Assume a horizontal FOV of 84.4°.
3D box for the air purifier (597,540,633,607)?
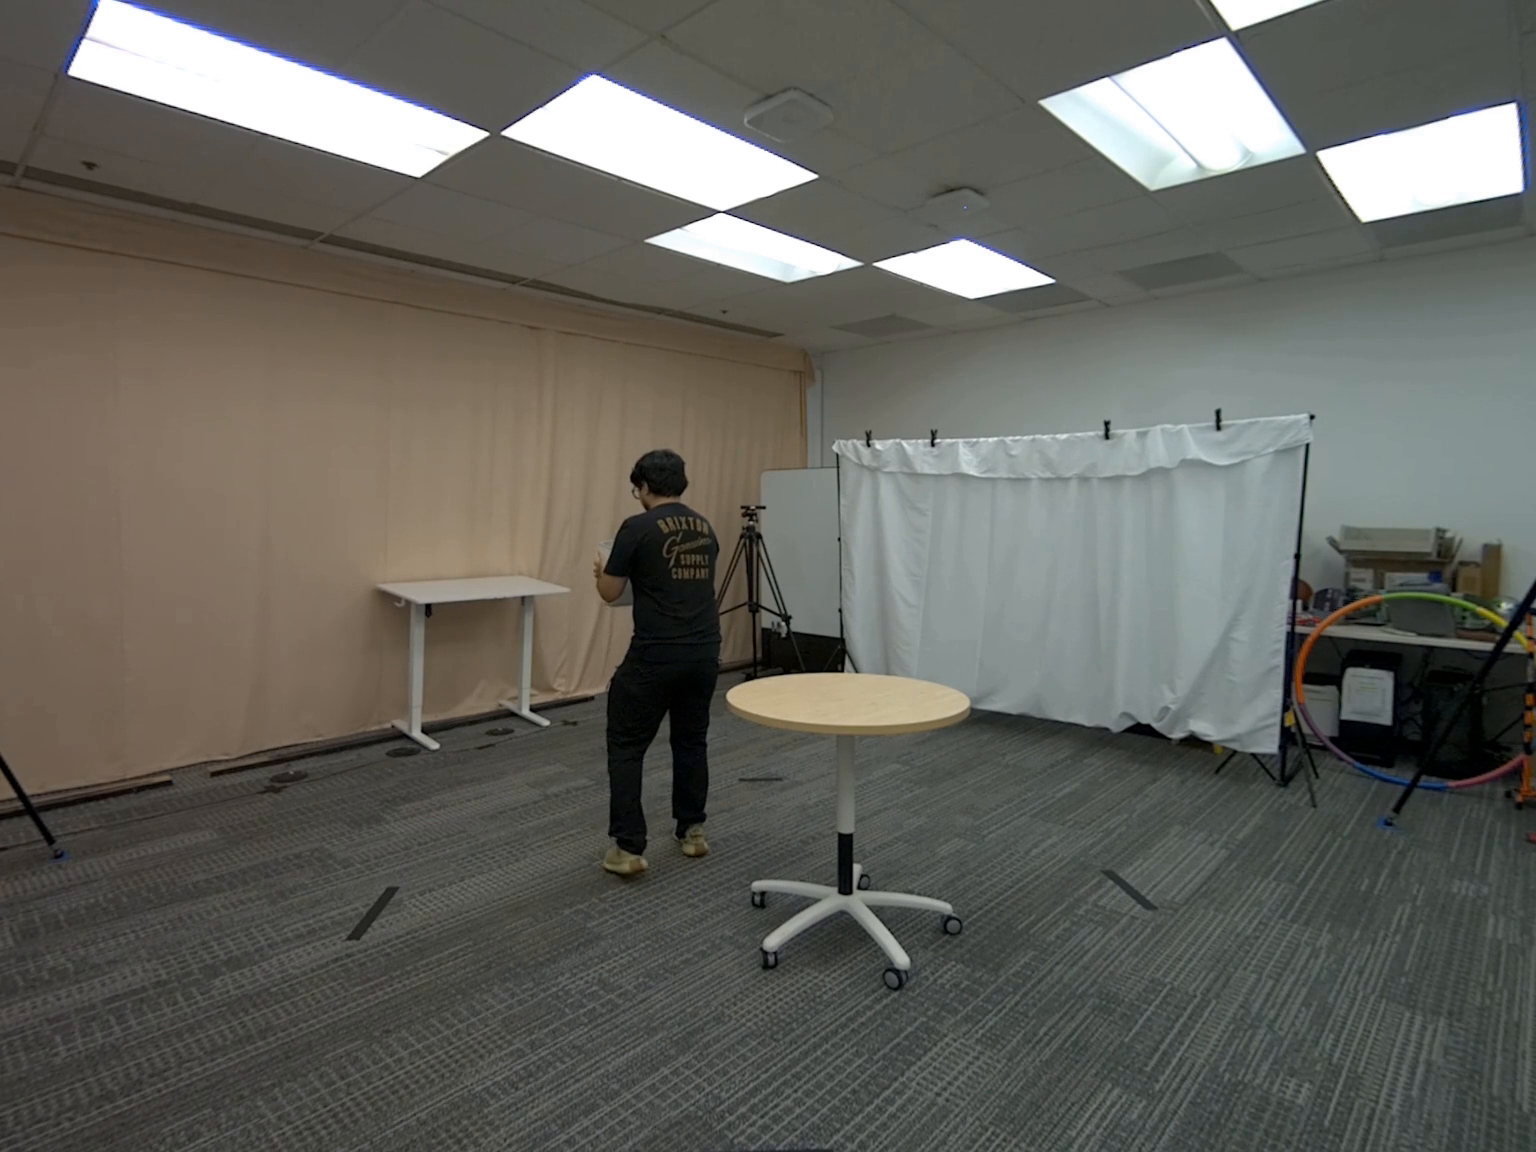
[{"bbox_3d":[-0.639,-0.009,3.622,0.167,0.263,0.177,-5,14,-30],"label":"air purifier"}]
